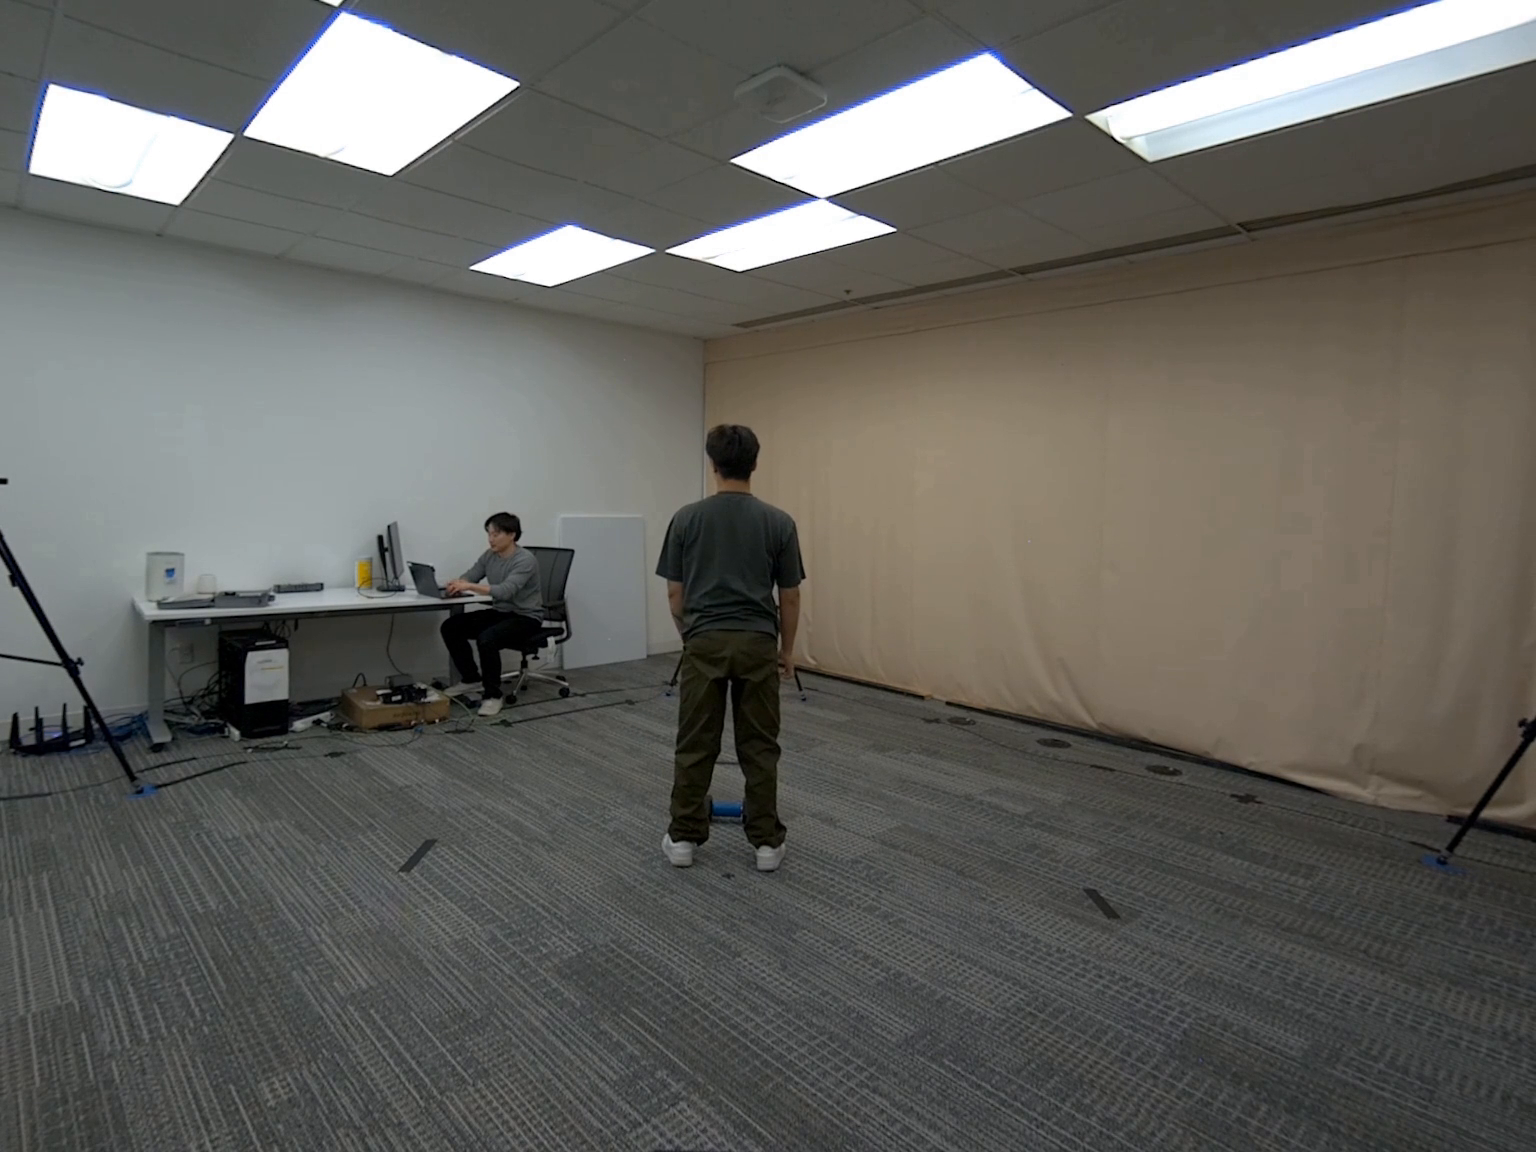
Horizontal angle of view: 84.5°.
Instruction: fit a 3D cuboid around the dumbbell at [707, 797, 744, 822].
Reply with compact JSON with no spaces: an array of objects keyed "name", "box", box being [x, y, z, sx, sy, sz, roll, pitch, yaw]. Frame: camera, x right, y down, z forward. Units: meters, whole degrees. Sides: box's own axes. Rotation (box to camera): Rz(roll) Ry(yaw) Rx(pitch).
[{"name":"dumbbell","box":[-0.182,1.012,3.628,0.294,0.120,0.111,2,33,2]}]
